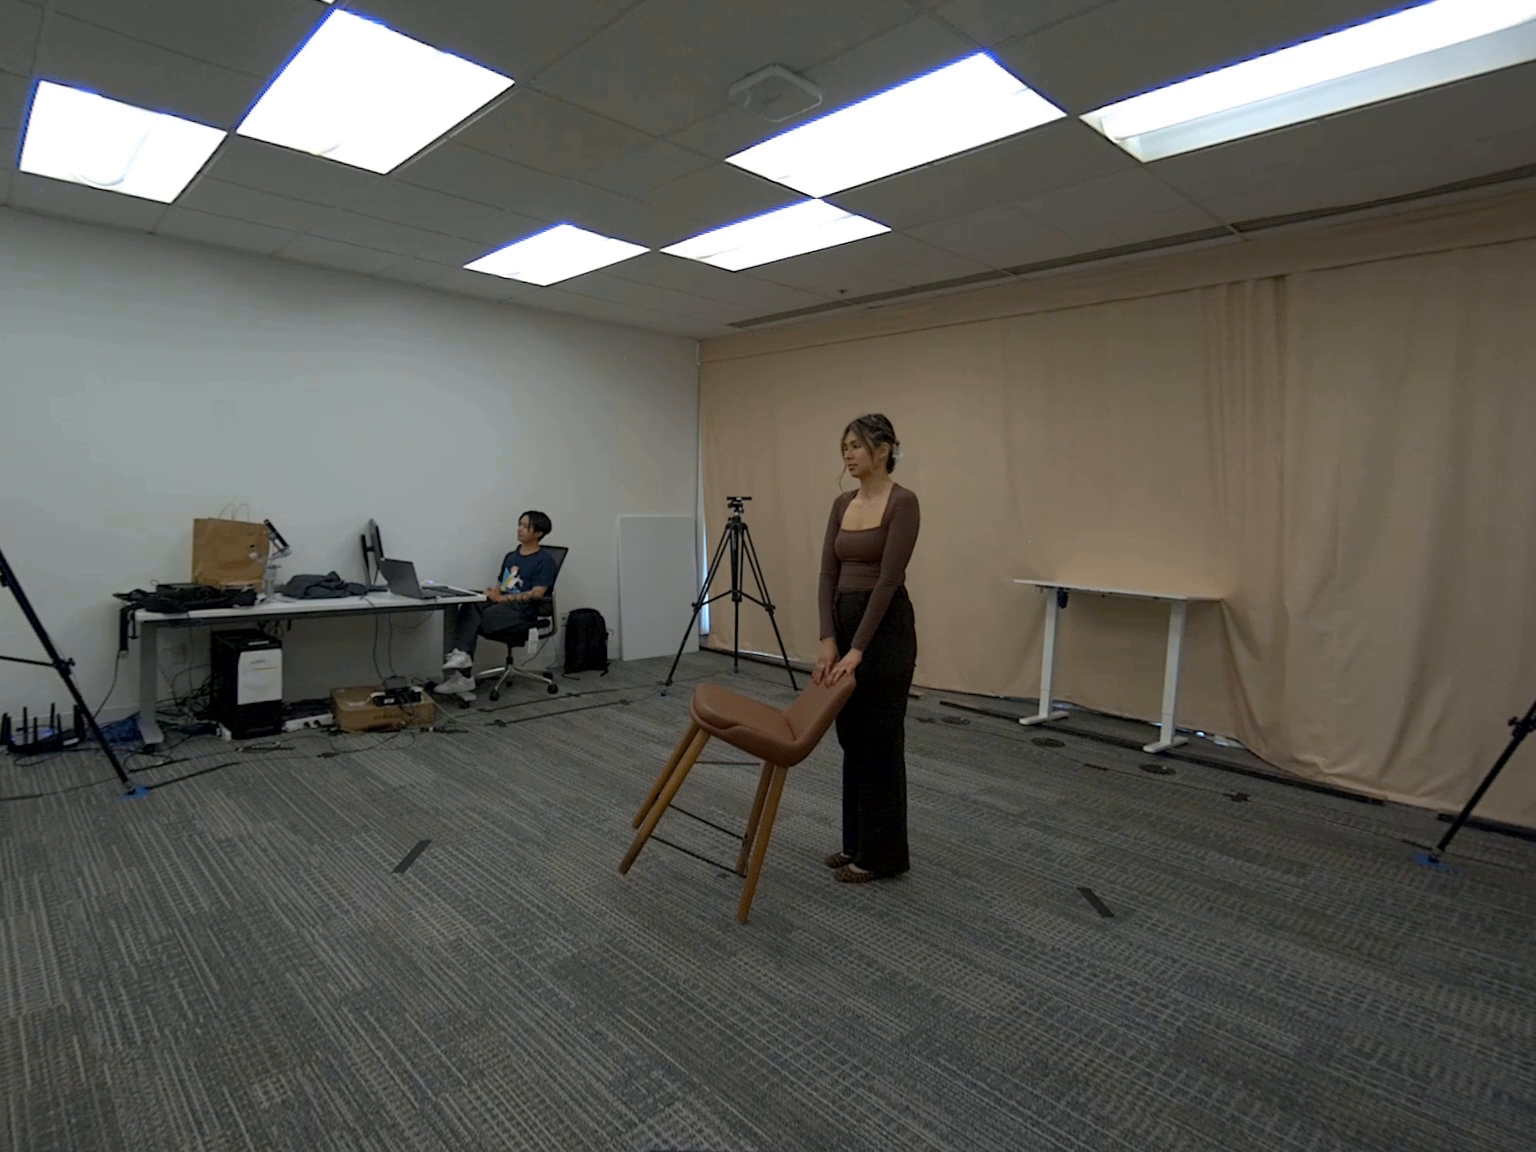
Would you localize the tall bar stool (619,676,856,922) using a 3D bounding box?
[{"bbox_3d":[-0.109,0.643,2.901,0.467,0.889,0.458,26,3,-3],"label":"tall bar stool"}]
